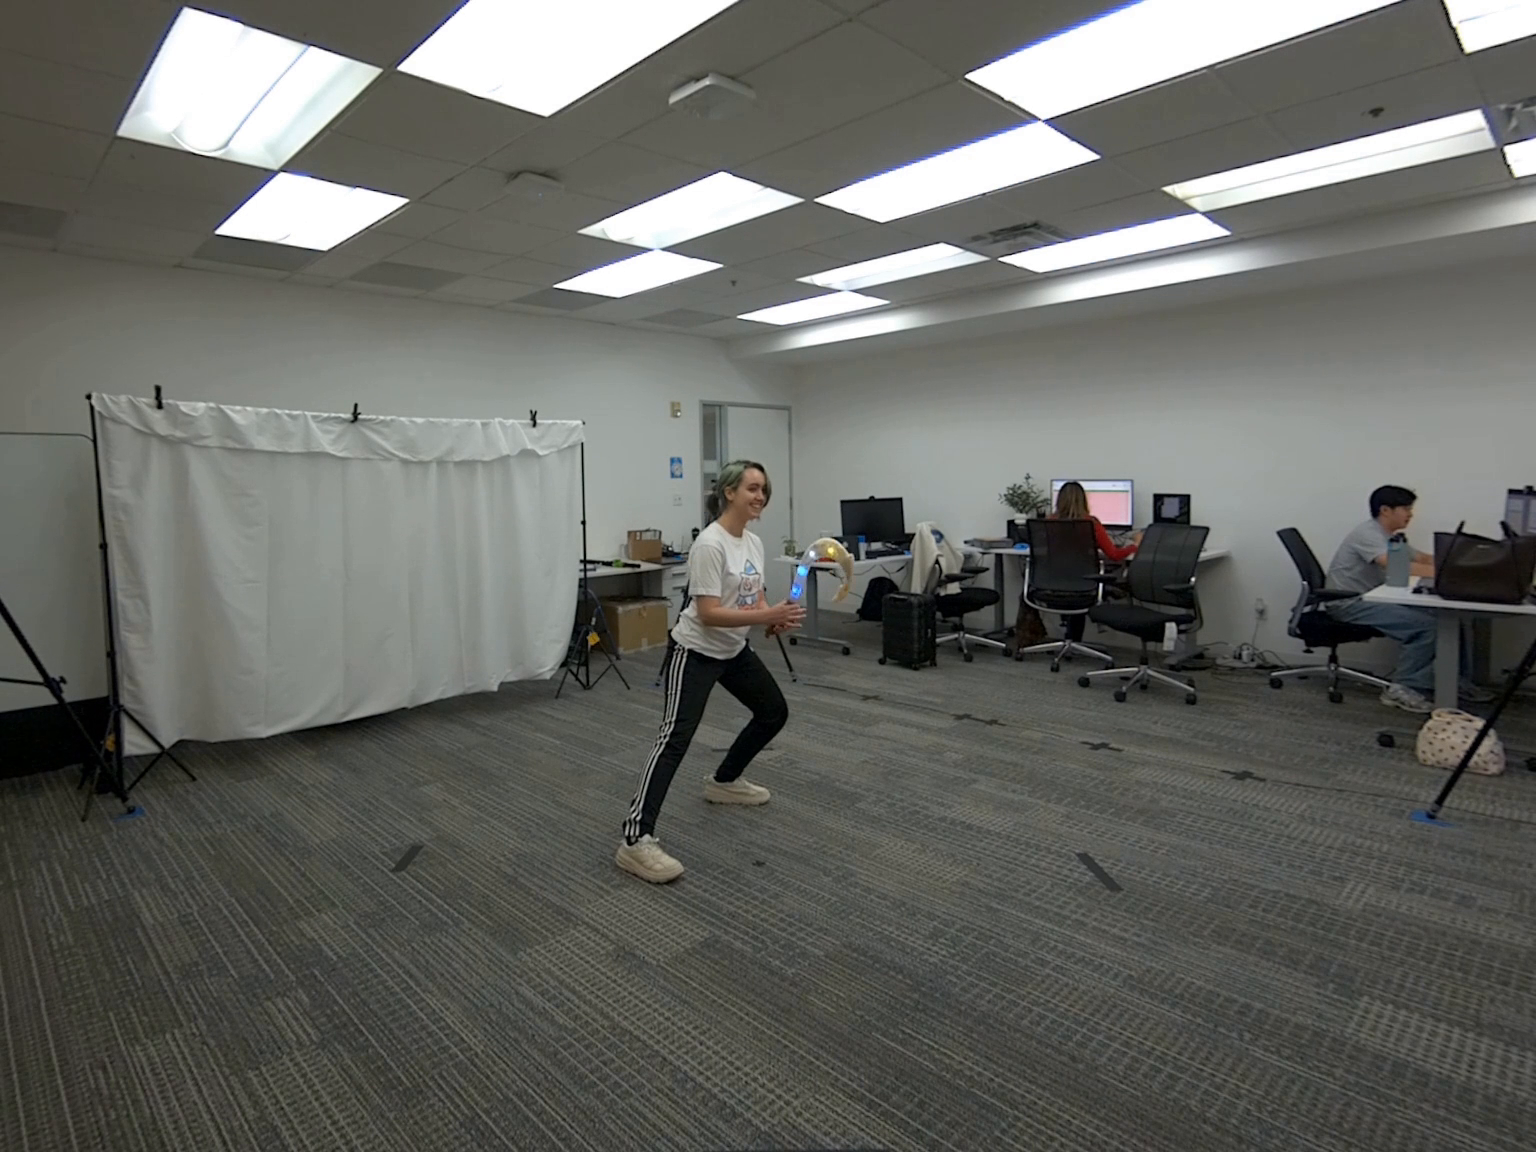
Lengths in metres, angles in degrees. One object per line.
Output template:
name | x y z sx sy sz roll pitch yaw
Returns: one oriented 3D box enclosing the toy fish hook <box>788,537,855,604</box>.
toy fish hook | 0.153 0.081 3.236 0.231 0.504 0.047 47 30 23
